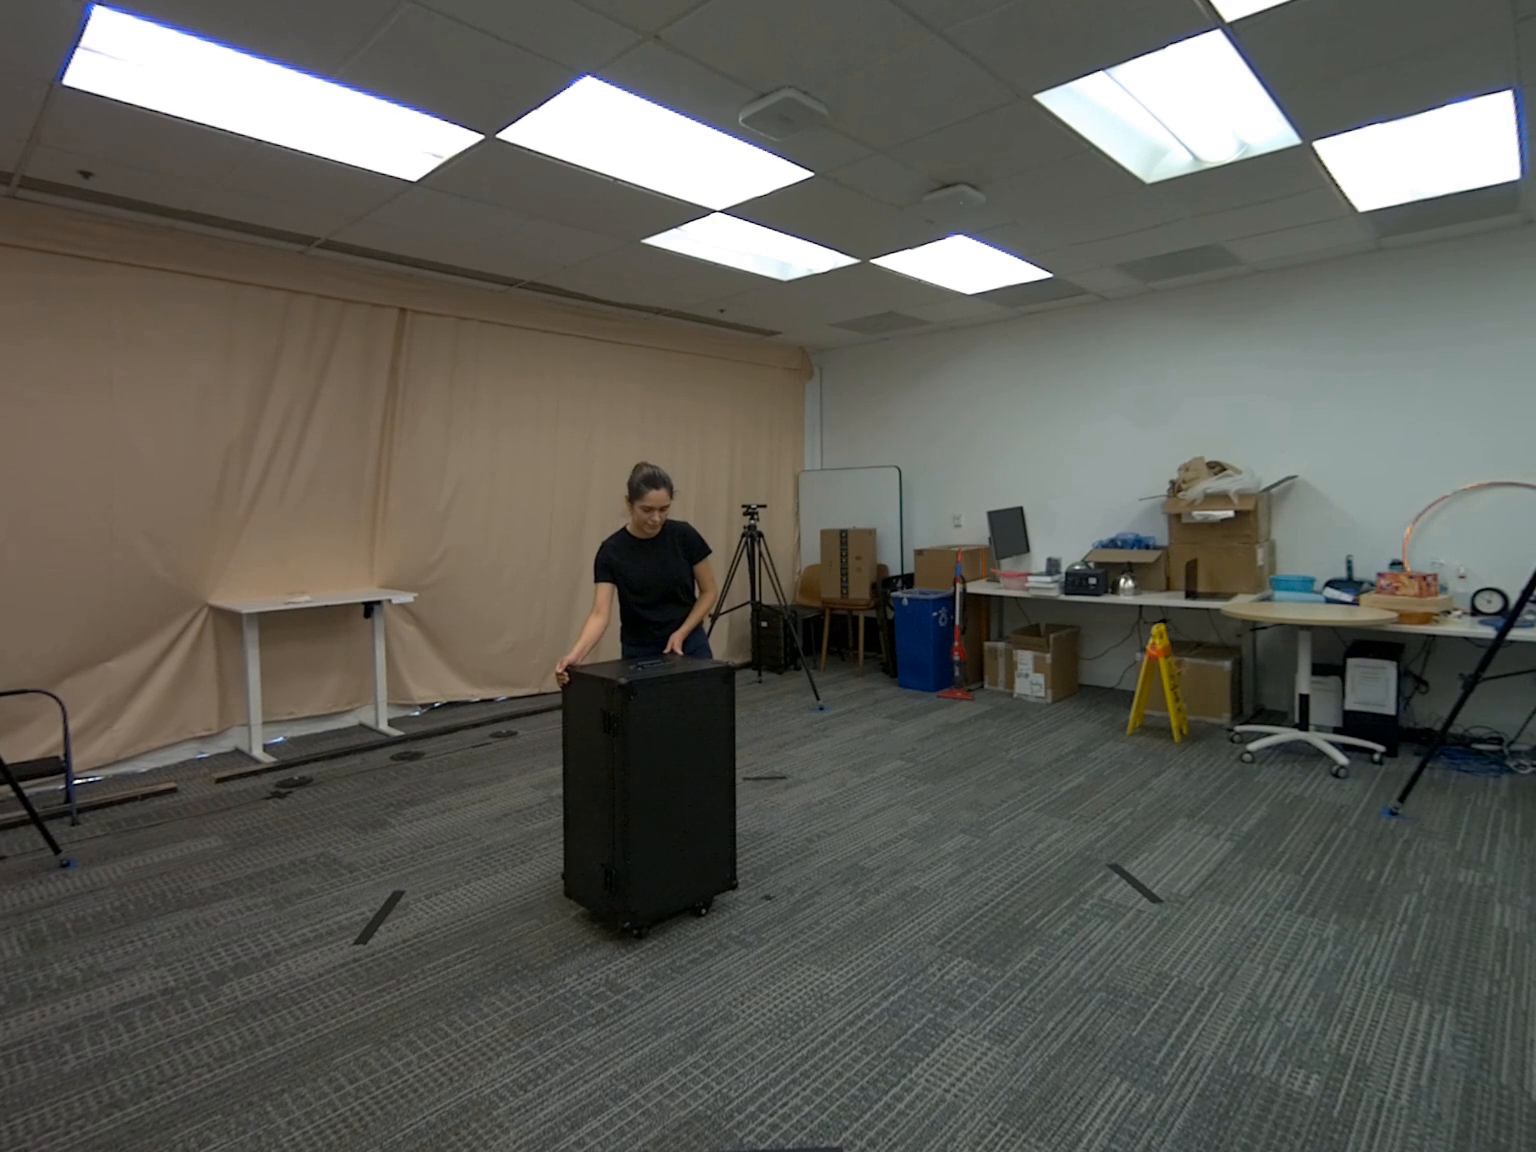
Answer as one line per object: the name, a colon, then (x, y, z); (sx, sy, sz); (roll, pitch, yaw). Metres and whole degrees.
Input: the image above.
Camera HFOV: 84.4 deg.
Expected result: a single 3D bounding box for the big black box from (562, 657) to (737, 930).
big black box: (-0.402, 0.725, 2.878); (0.505, 0.861, 0.409); (-2, 1, -42)
